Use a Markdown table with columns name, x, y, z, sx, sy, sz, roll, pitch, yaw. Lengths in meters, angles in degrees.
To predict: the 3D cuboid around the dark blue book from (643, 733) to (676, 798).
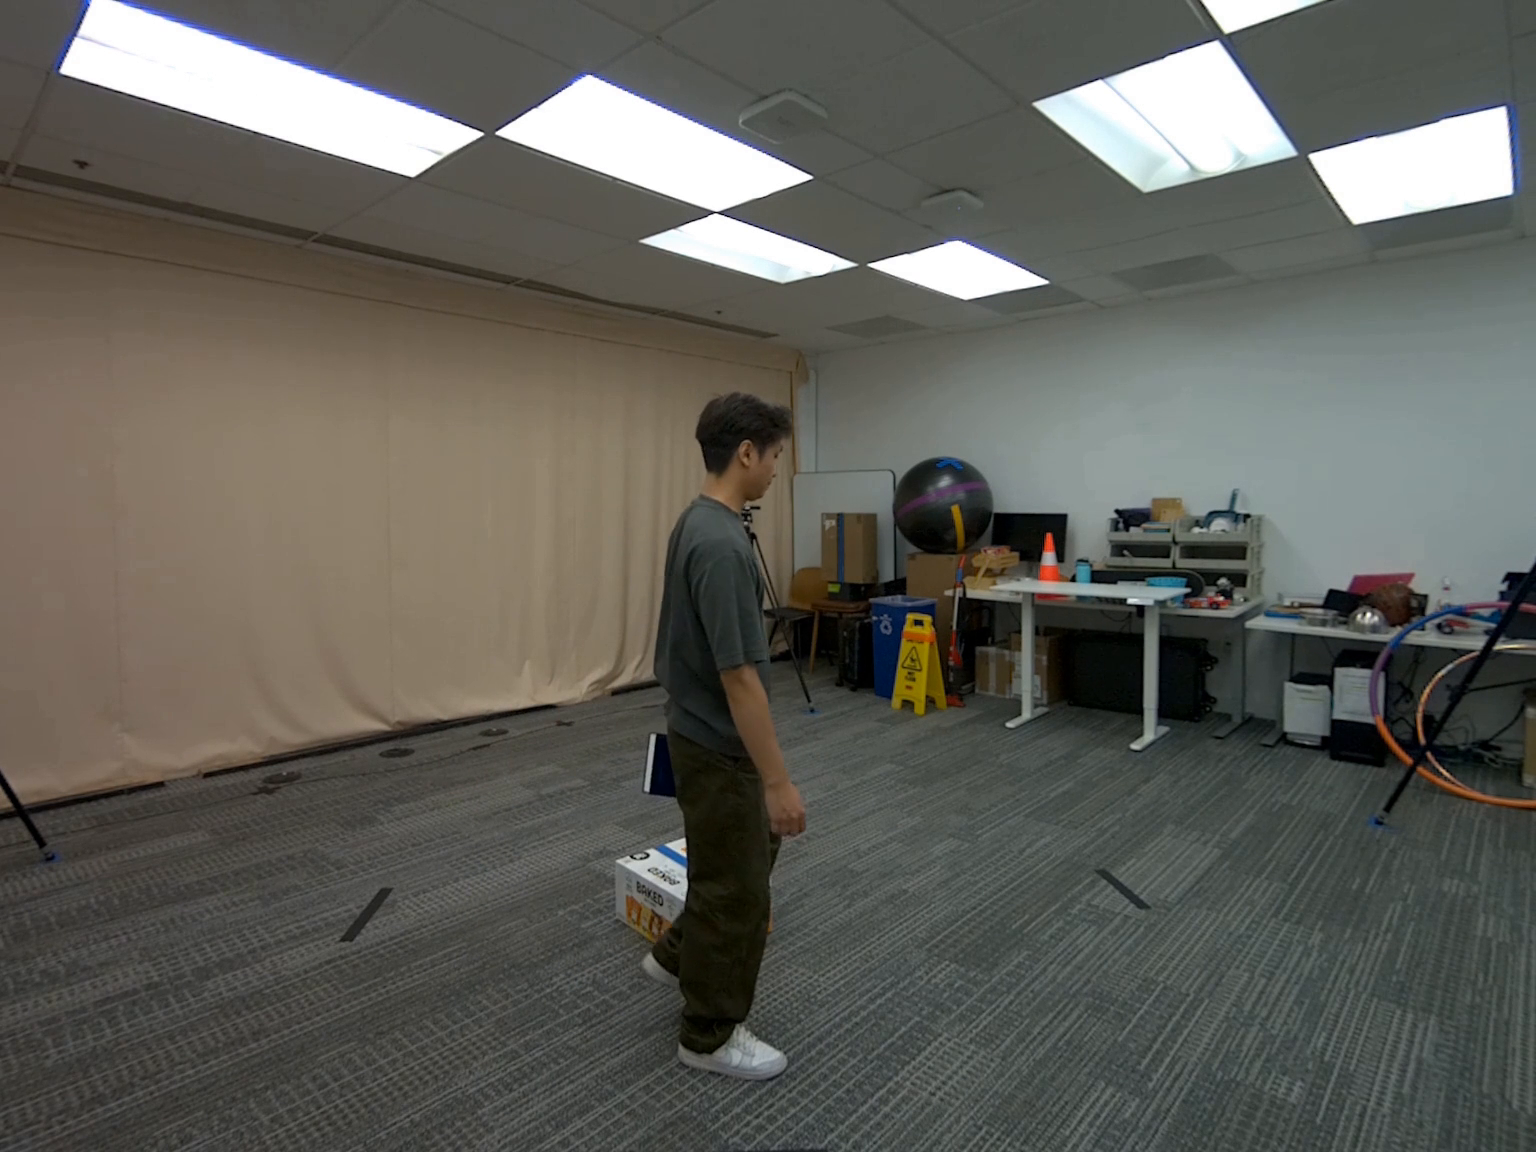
| name | x | y | z | sx | sy | sz | roll | pitch | yaw |
| --- | --- | --- | --- | --- | --- | --- | --- | --- | --- |
| dark blue book | -0.216 | 0.540 | 2.346 | 0.237 | 0.165 | 0.046 | 14 | -17 | -30 |
